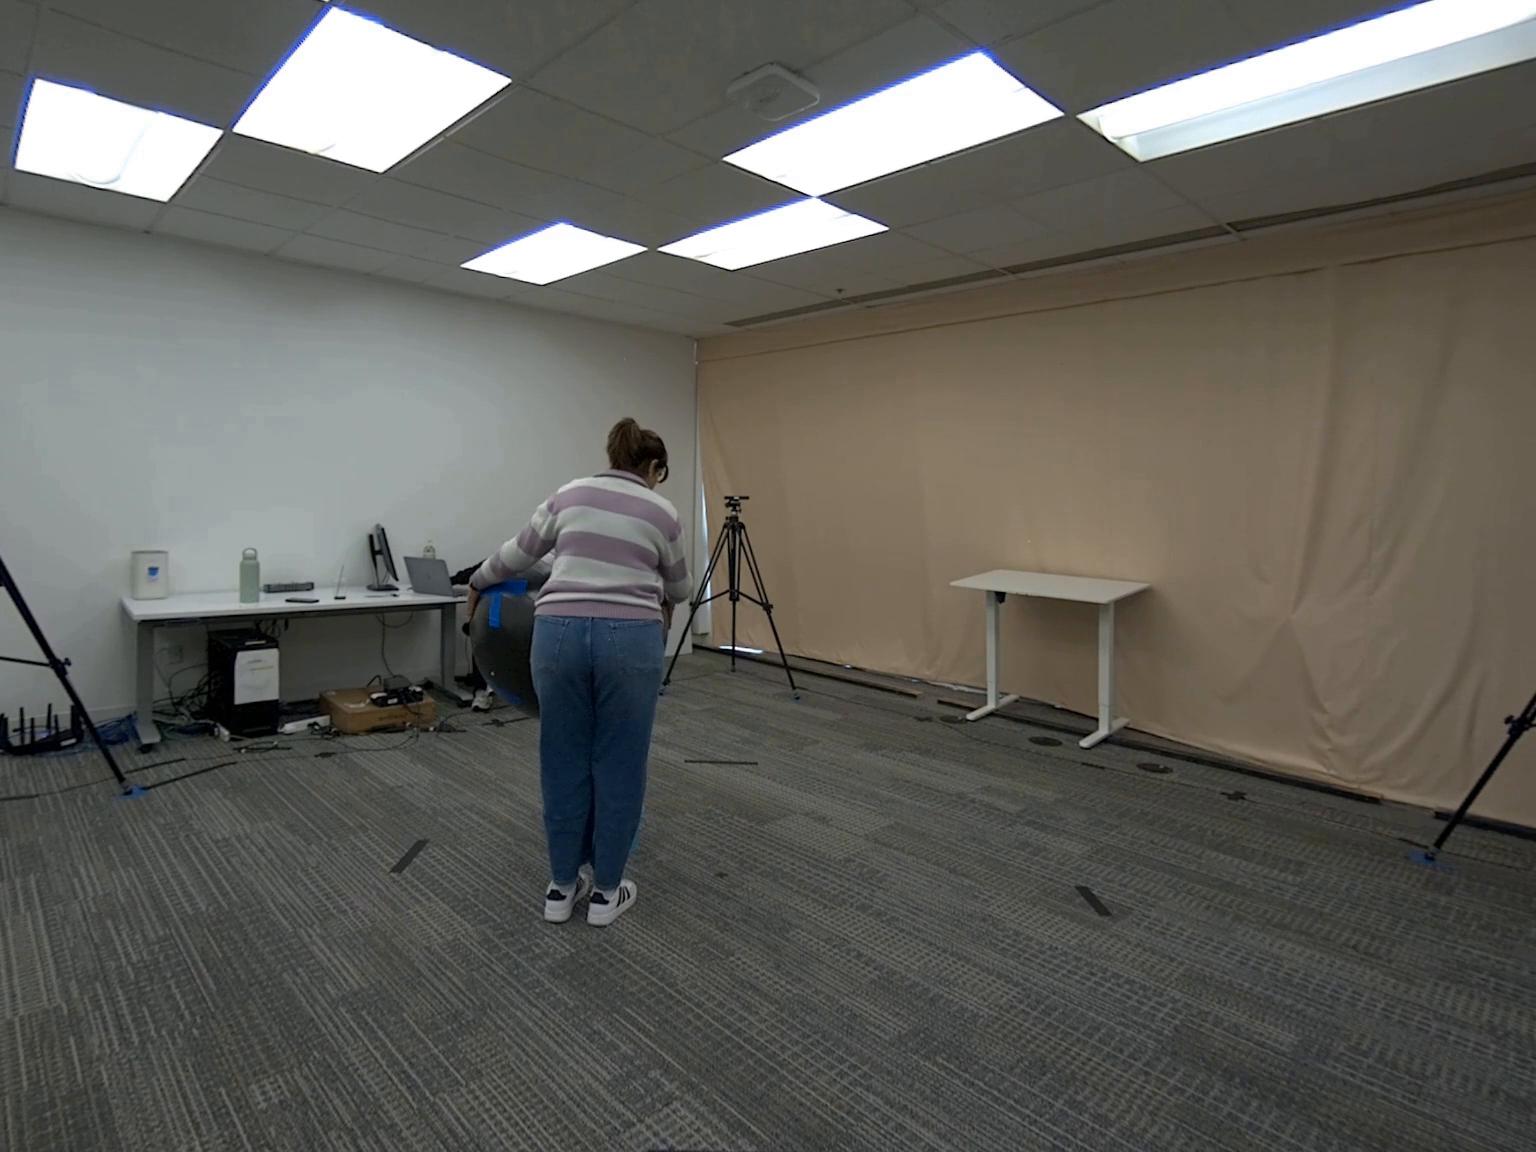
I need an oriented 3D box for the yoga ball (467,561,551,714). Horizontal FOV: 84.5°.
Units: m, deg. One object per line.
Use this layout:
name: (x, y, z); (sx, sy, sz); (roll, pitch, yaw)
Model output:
yoga ball: (-0.773, 0.191, 3.254); (0.757, 0.756, 0.761); (1, 4, -1)
